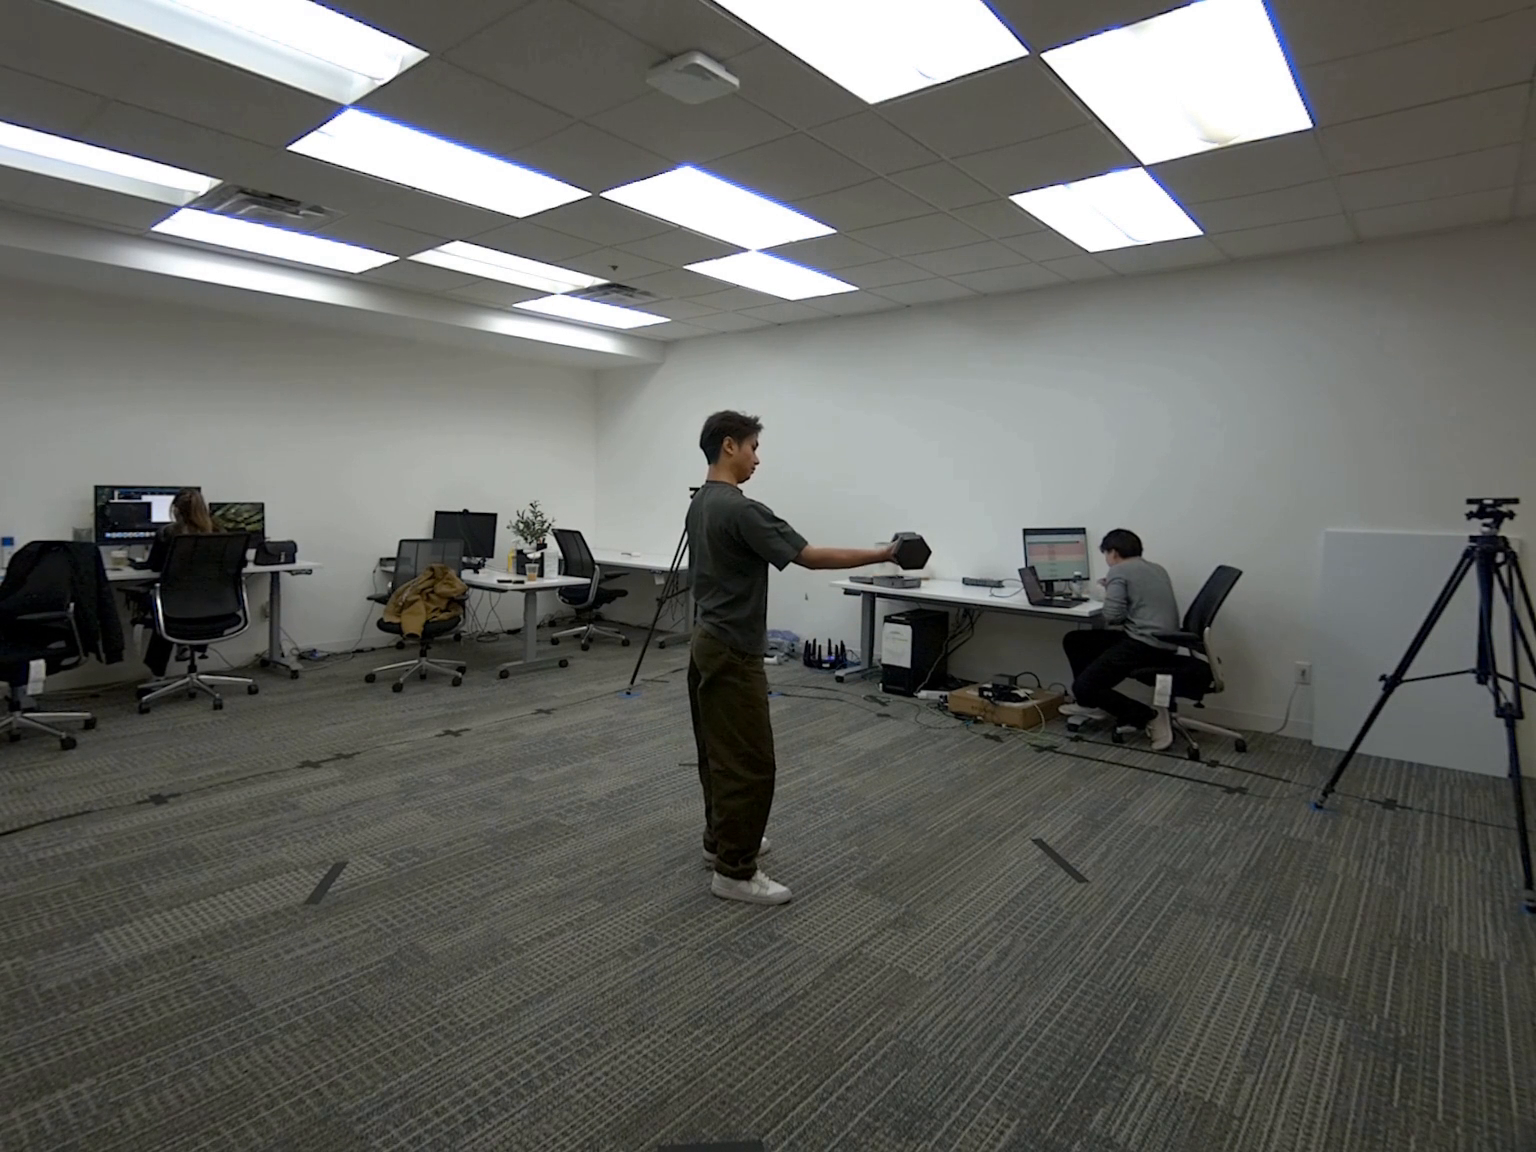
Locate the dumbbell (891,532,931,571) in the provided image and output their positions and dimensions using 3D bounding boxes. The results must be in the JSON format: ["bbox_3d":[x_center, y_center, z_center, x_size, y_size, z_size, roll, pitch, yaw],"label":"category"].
[{"bbox_3d":[0.450,-0.083,2.783,0.109,0.122,0.292,27,6,2],"label":"dumbbell"}]
